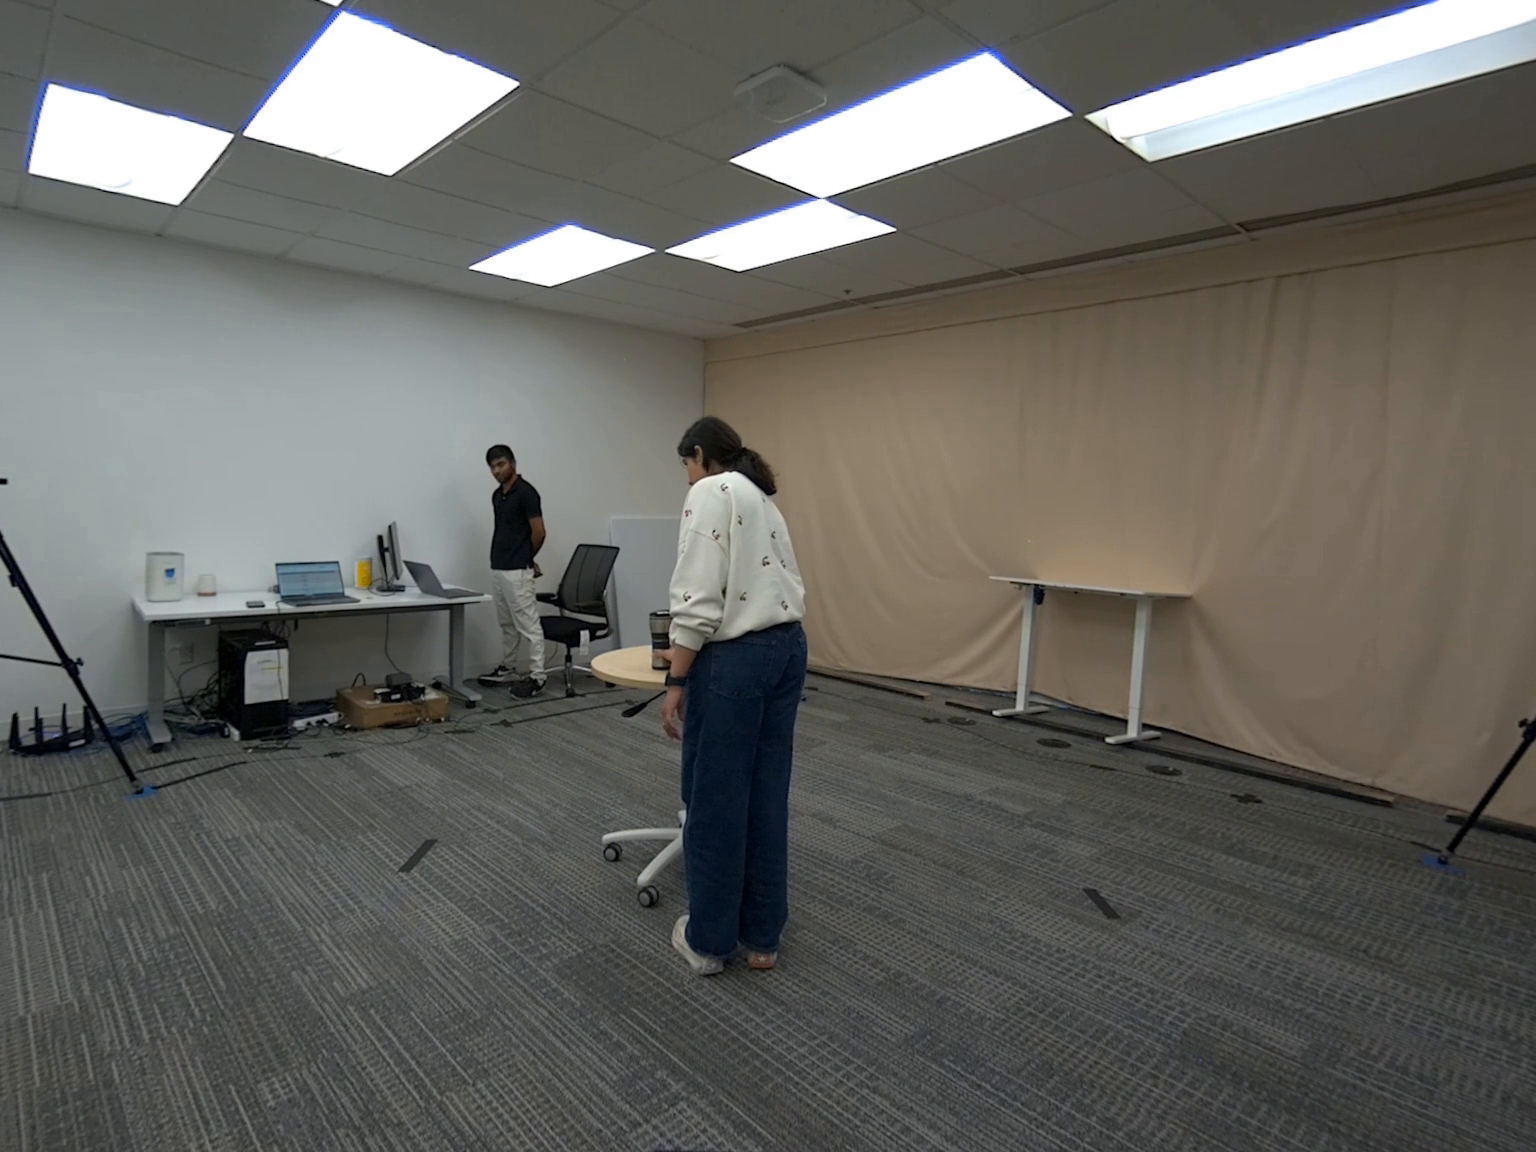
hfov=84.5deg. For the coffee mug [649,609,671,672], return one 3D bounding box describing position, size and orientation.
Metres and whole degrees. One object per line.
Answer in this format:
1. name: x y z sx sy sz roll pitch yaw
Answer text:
1. coffee mug: -0.372 0.229 3.007 0.090 0.203 0.119 -2 3 37
